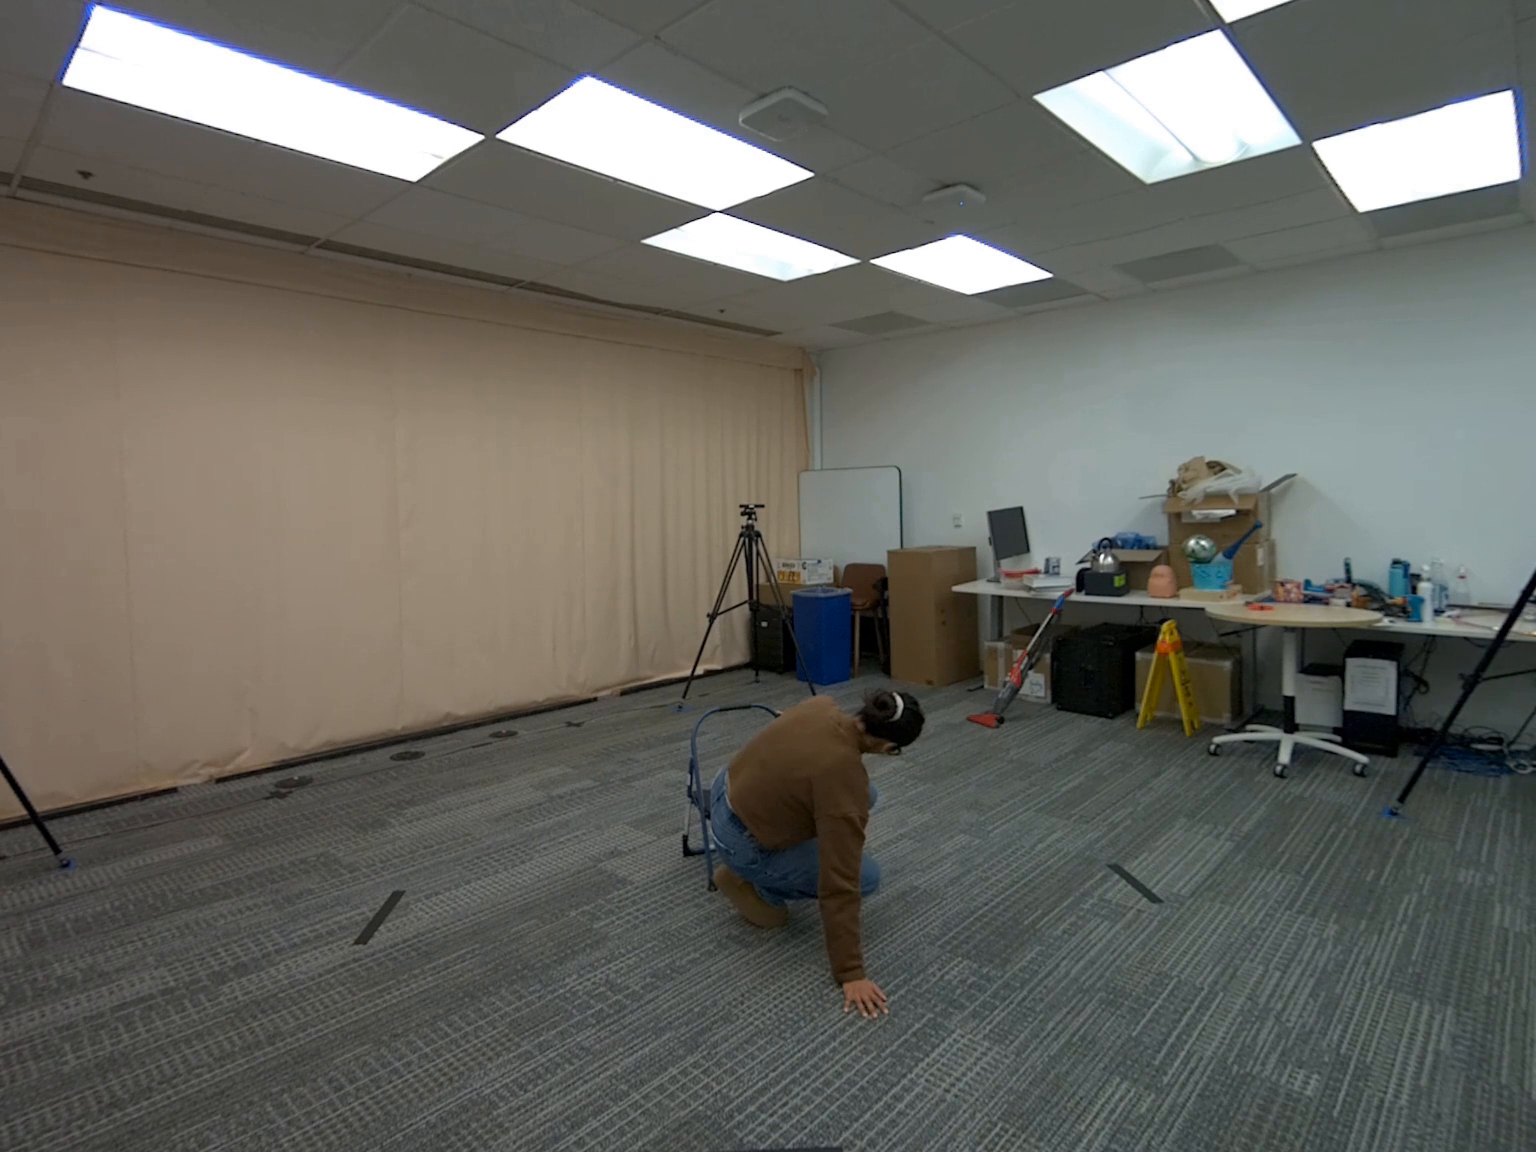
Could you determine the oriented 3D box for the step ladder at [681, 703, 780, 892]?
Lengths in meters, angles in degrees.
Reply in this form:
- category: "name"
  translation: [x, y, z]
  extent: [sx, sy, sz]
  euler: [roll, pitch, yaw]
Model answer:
- category: "step ladder"
  translation: [-0.085, 0.815, 3.257]
  extent: [0.421, 0.605, 0.358]
  euler: [-2, 4, -23]
